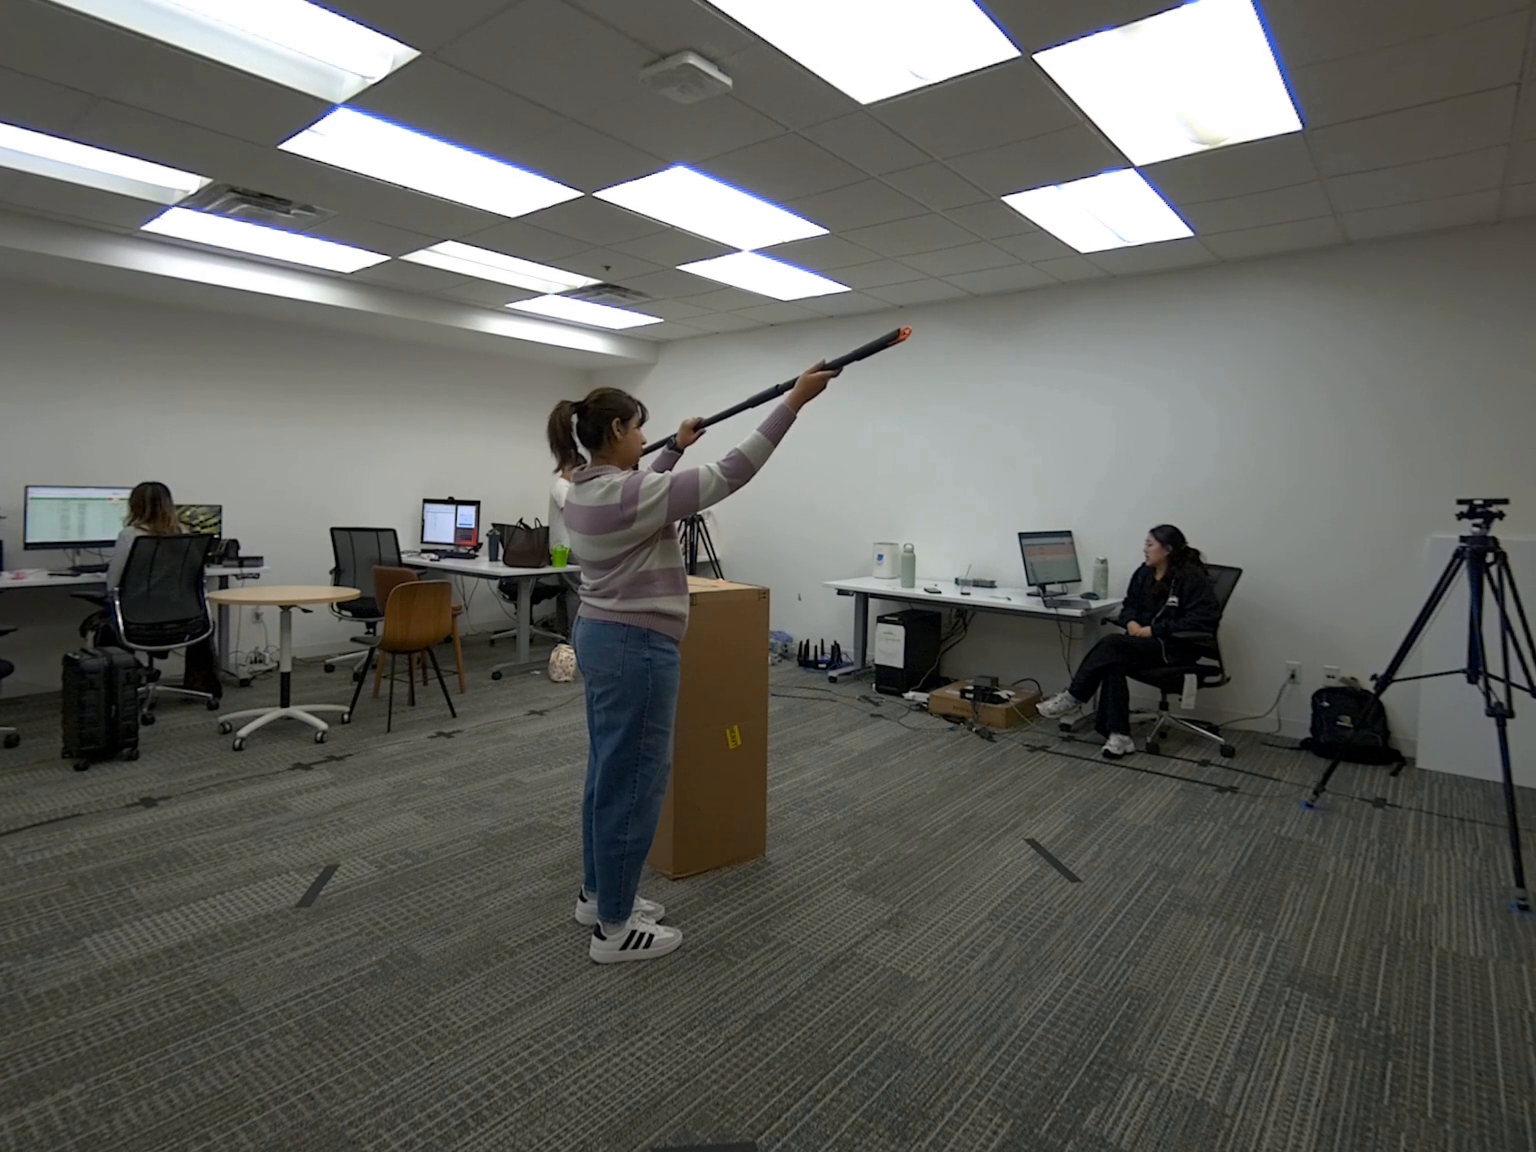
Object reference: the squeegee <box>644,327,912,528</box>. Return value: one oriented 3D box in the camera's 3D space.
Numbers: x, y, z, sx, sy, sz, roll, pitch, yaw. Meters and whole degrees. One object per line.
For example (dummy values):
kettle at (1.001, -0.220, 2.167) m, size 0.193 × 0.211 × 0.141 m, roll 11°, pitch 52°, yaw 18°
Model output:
squeegee at (-0.132, -0.511, 2.687) m, size 0.051 × 0.441 × 1.575 m, roll 6°, pitch -9°, yaw -36°
